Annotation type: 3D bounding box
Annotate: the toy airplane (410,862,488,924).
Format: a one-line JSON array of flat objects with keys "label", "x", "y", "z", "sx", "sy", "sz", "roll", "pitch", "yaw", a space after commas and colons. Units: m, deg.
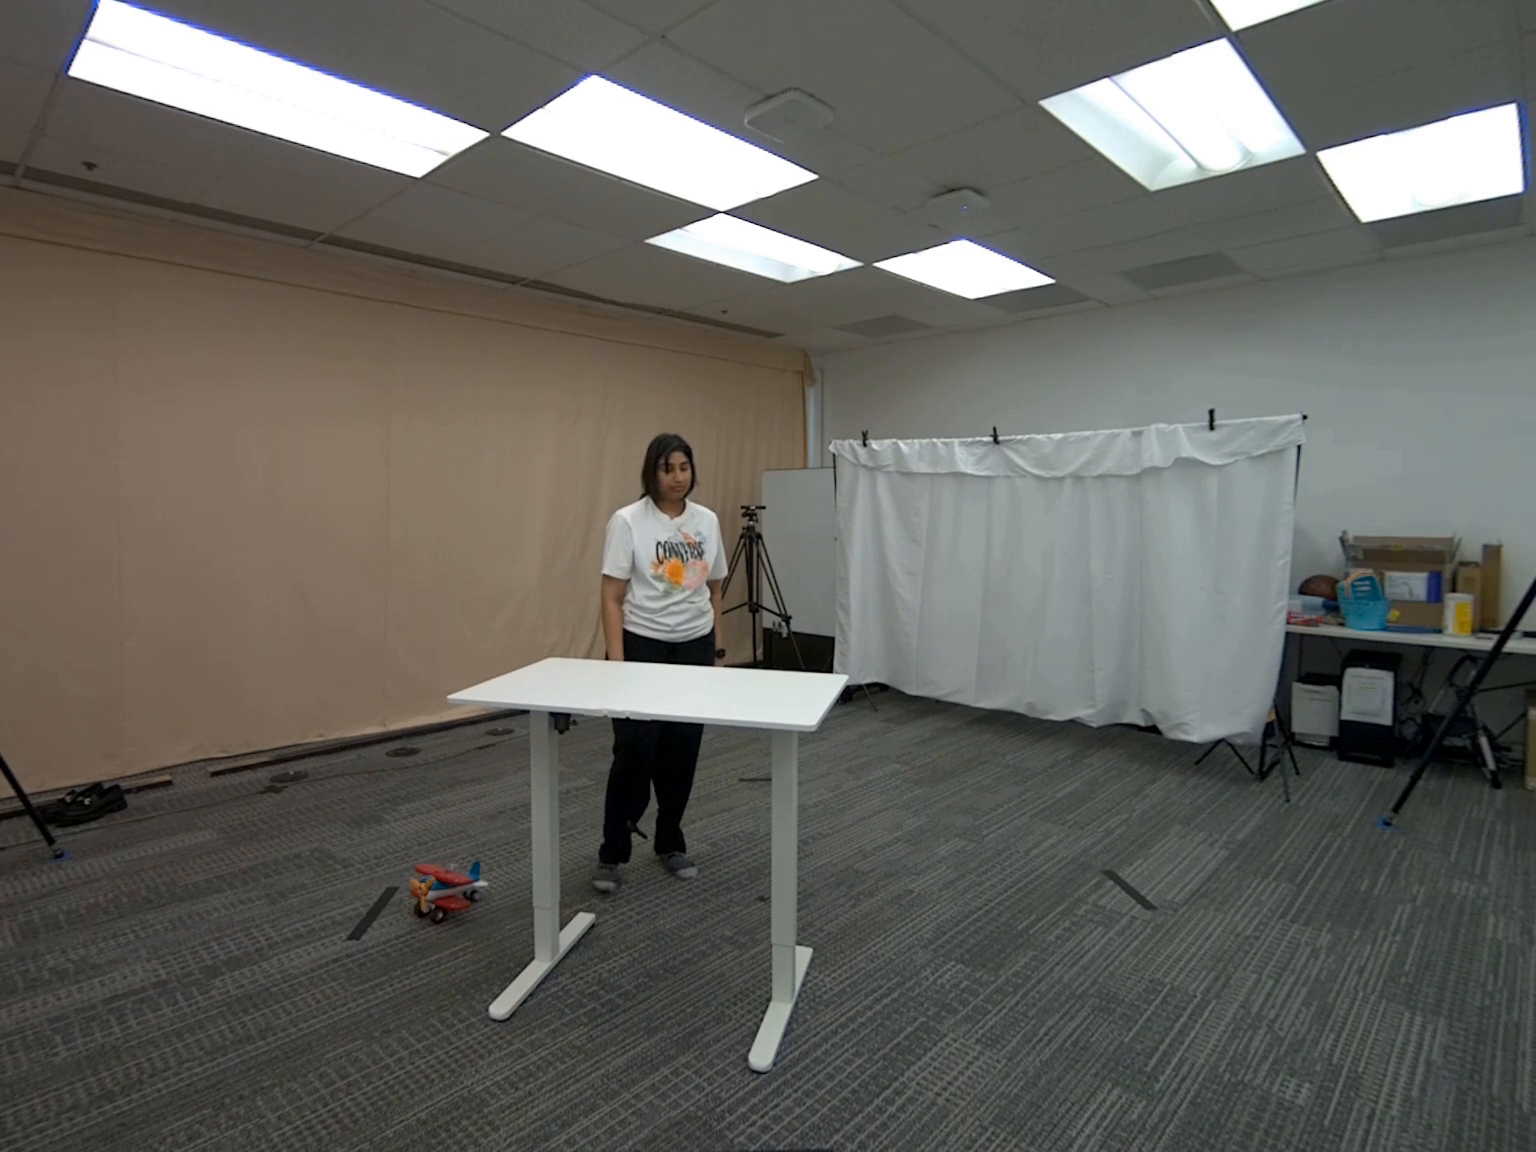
[{"label": "toy airplane", "x": -1.129, "y": 1.088, "z": 2.921, "sx": 0.252, "sy": 0.156, "sz": 0.259, "roll": -1, "pitch": 4, "yaw": 3}]
